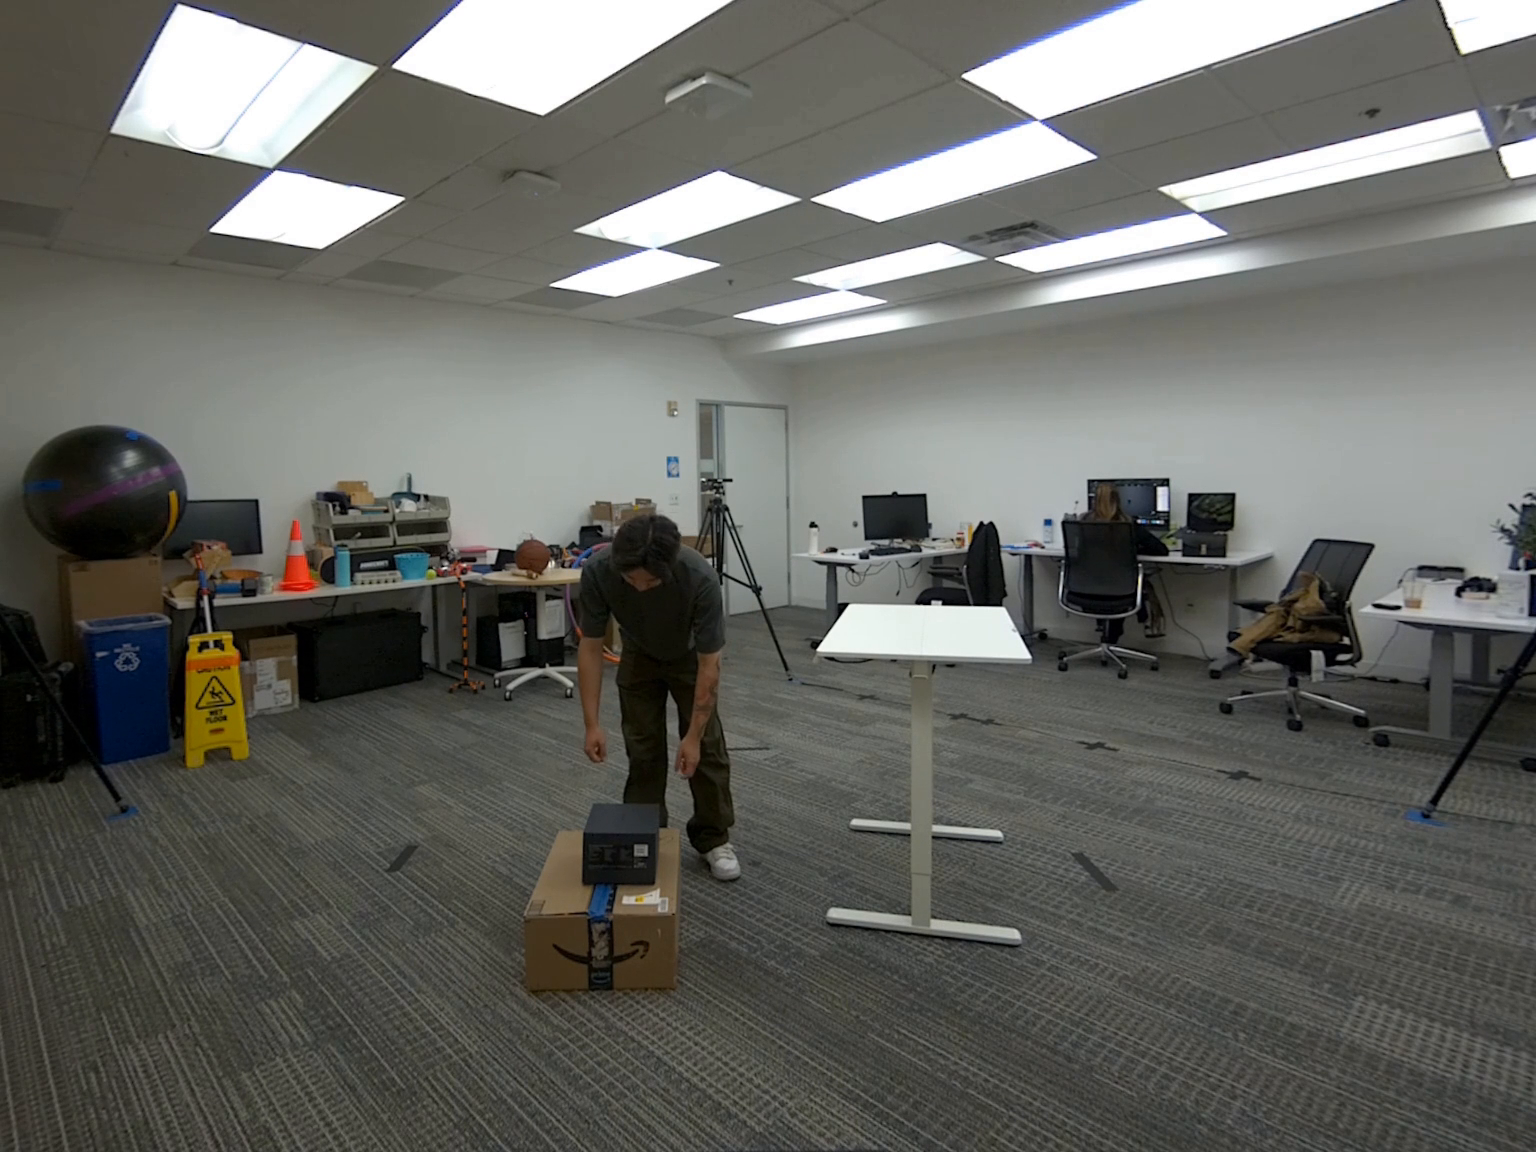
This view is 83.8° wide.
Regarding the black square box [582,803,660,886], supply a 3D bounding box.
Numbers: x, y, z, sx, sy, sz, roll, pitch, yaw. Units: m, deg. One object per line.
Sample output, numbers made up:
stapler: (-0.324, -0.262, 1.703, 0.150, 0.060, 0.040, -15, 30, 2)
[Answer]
black square box: (-0.445, 0.808, 2.618, 0.216, 0.155, 0.229, 0, 6, -3)
